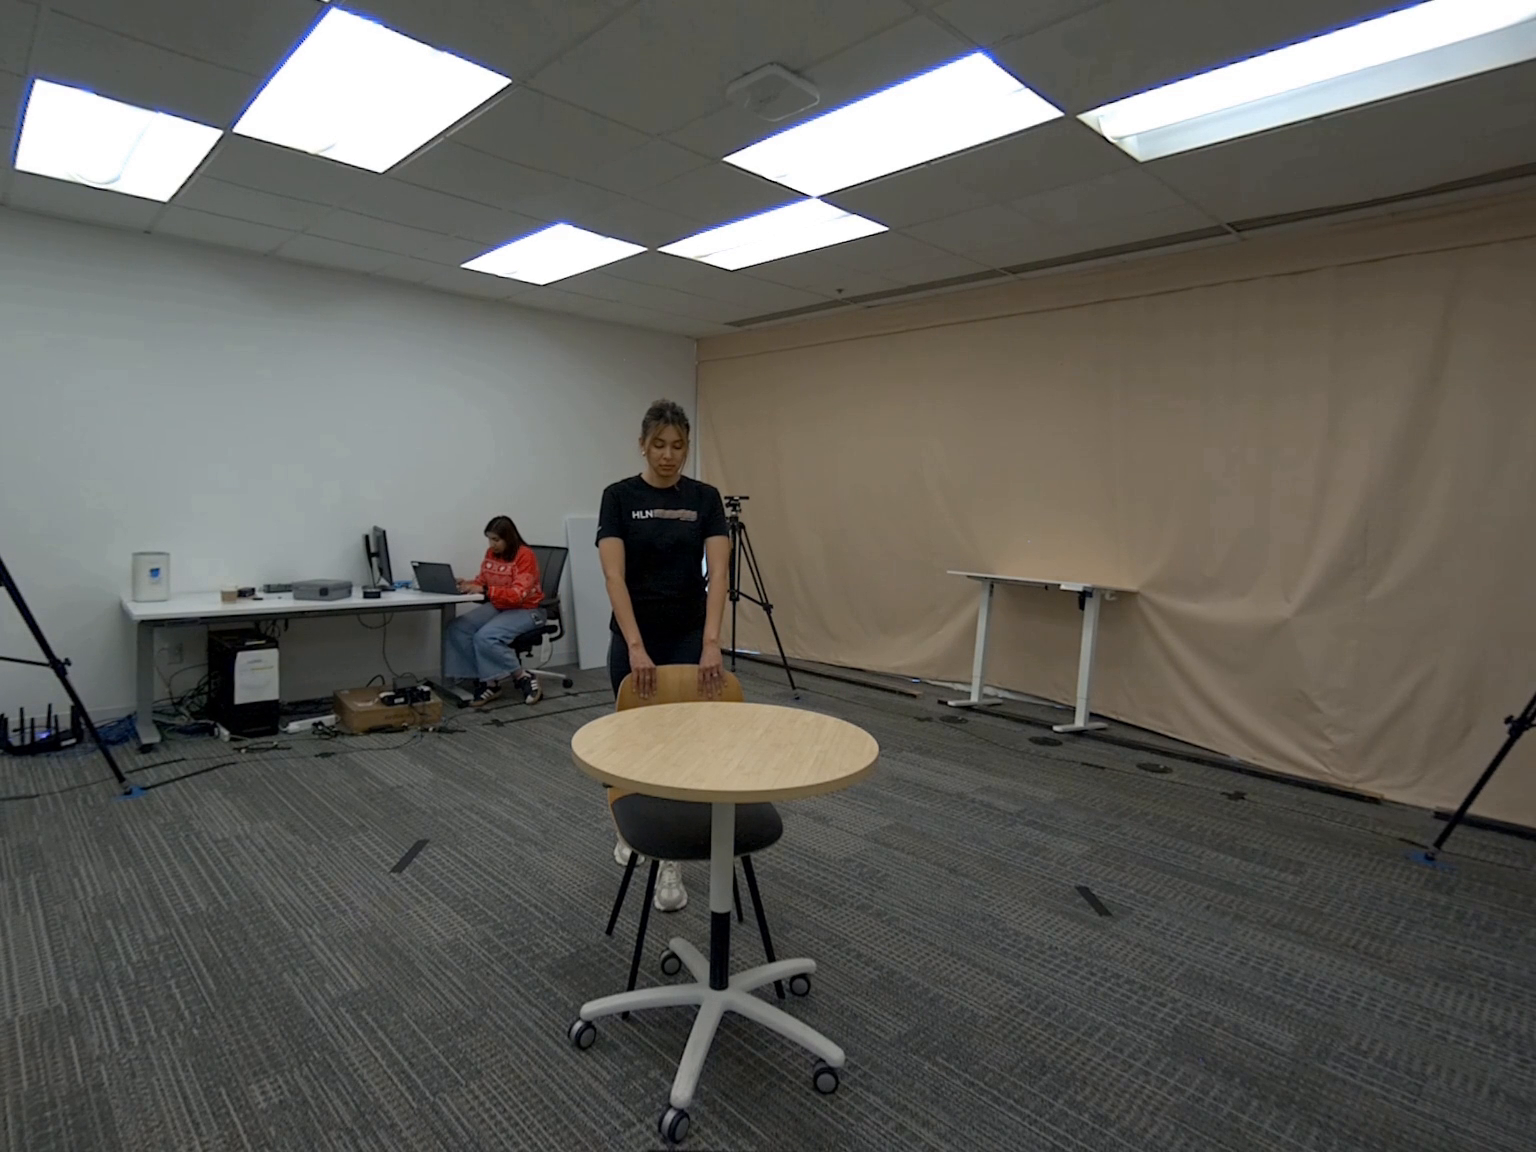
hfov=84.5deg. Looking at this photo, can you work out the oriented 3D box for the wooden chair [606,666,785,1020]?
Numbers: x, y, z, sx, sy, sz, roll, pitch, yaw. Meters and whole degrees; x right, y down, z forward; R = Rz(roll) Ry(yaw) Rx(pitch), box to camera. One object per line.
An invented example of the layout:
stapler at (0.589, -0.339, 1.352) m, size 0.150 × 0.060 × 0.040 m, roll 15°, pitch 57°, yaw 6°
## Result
wooden chair at (-0.224, 0.734, 2.464) m, size 0.472 × 0.878 × 0.529 m, roll 0°, pitch 0°, yaw -16°
